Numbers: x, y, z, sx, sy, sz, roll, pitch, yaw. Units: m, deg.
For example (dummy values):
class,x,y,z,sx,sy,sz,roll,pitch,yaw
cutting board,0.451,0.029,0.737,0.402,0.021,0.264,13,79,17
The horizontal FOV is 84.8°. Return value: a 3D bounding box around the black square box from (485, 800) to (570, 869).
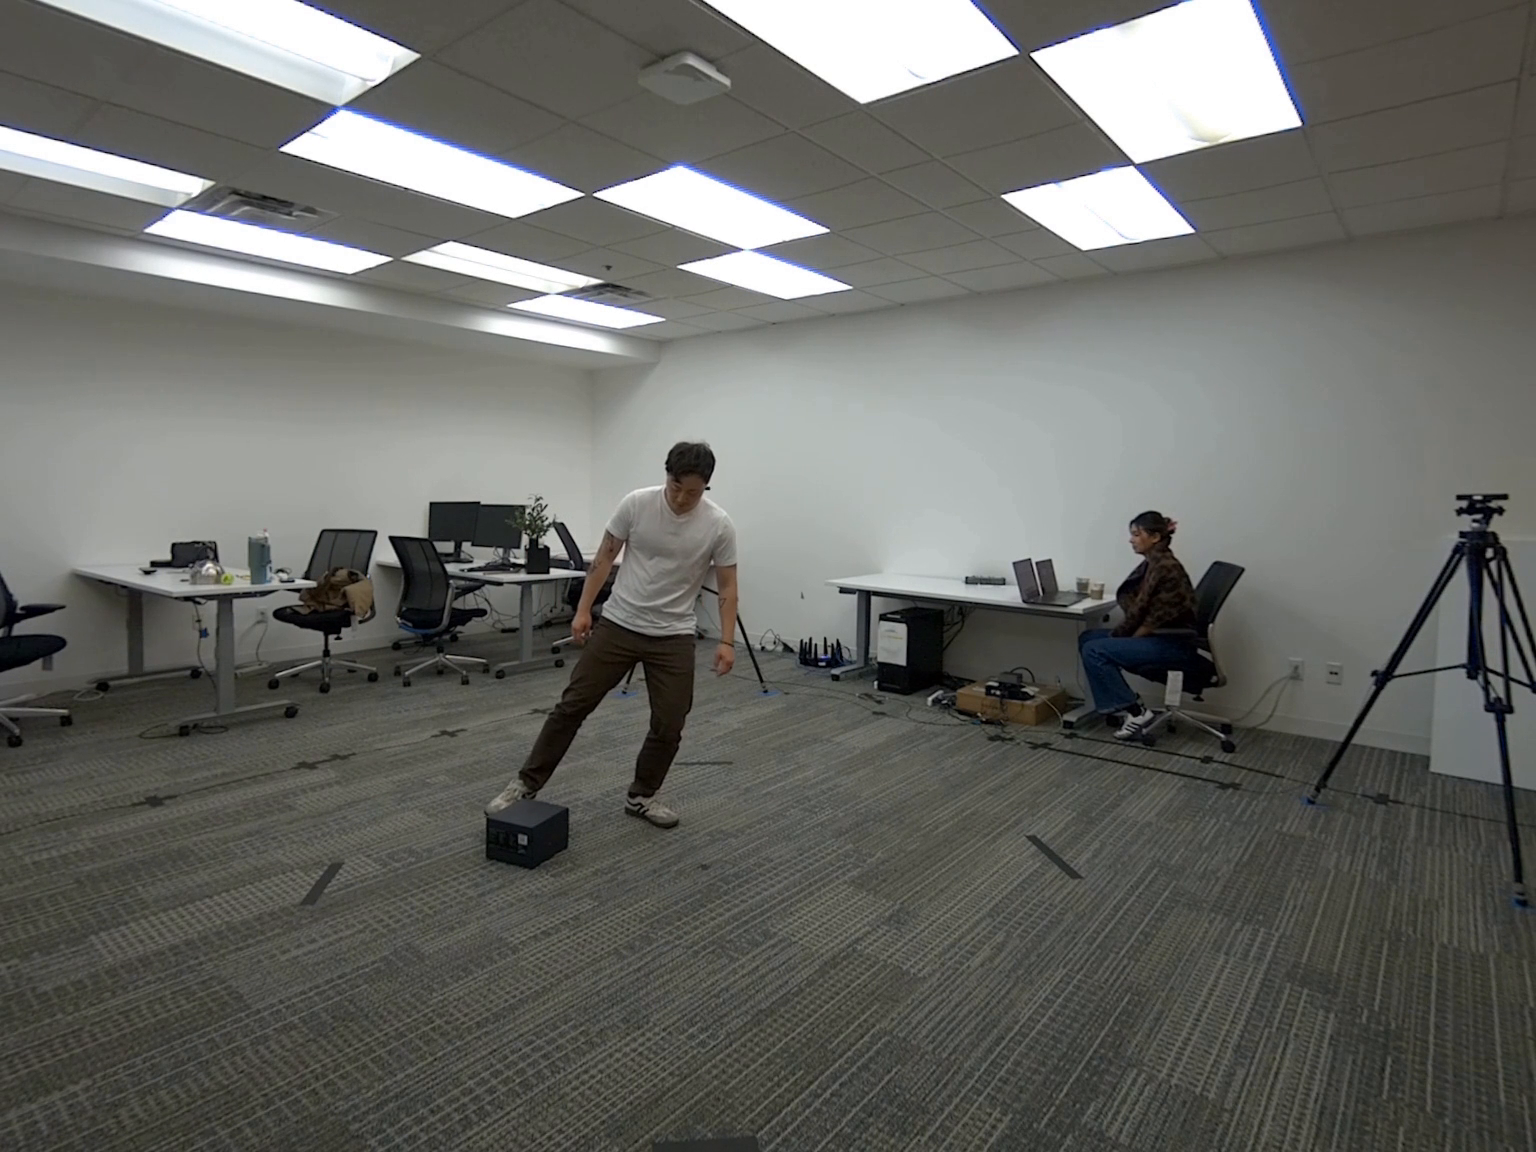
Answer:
class,x,y,z,sx,sy,sz,roll,pitch,yaw
black square box,-0.918,0.962,3.209,0.222,0.155,0.223,2,4,23
